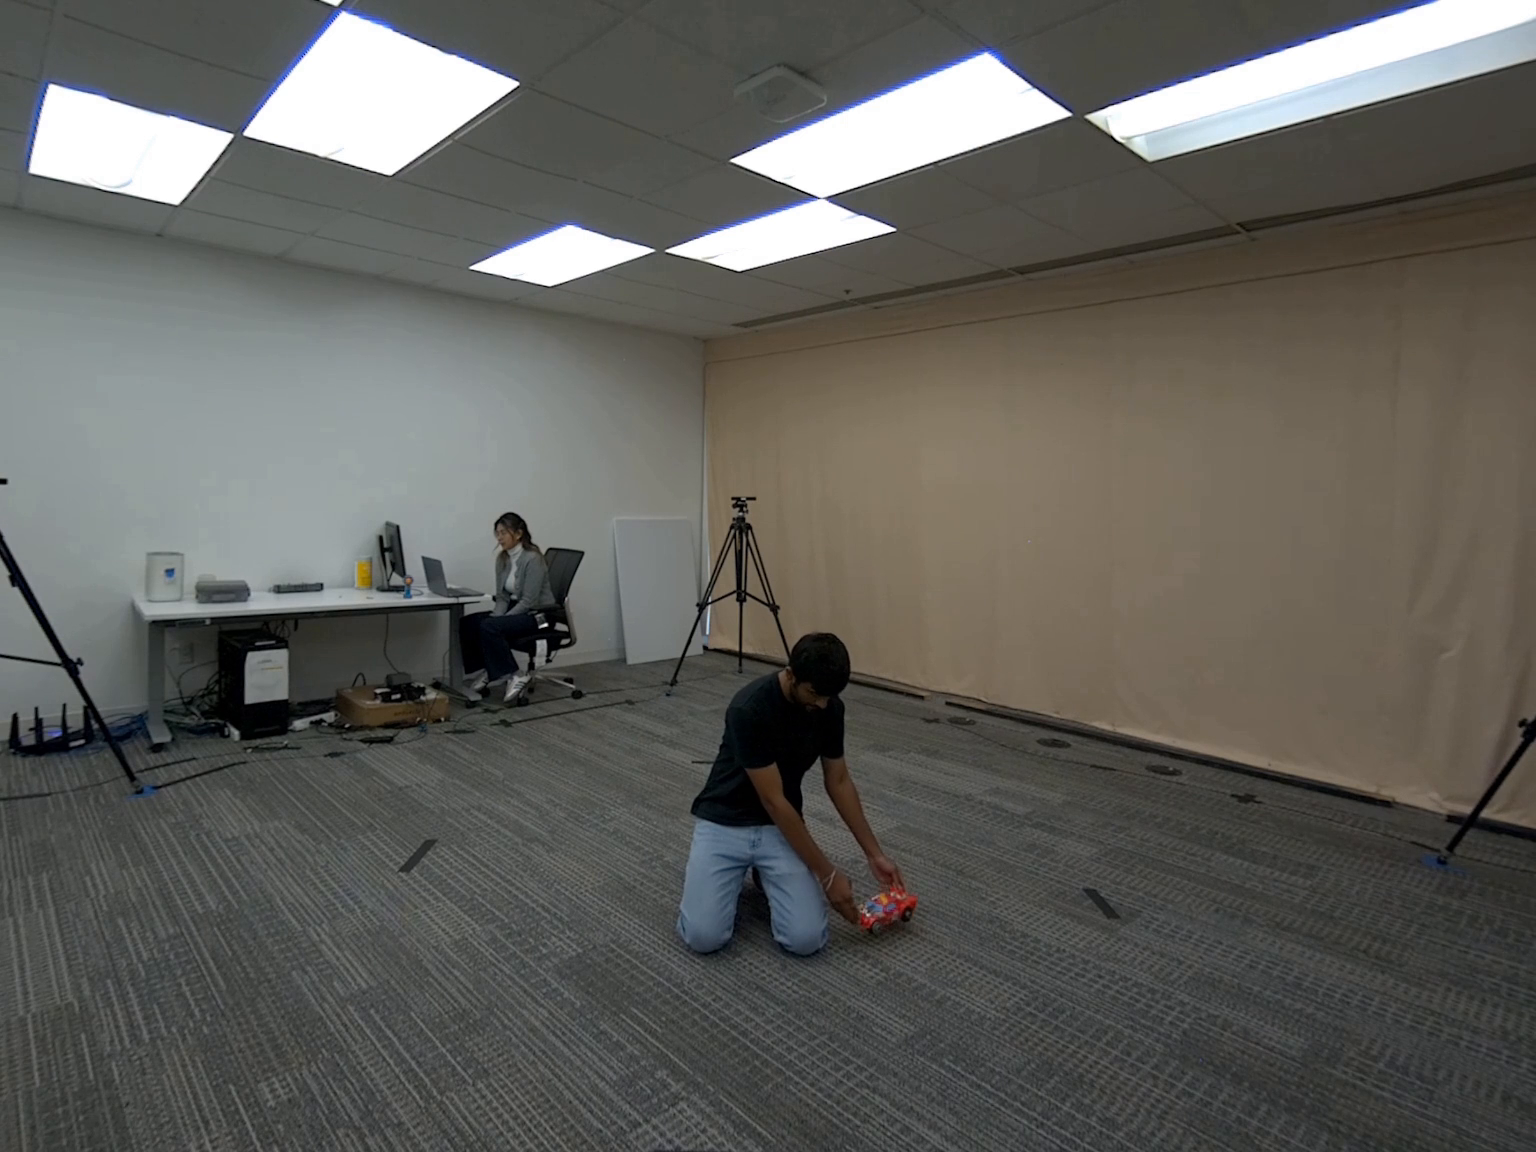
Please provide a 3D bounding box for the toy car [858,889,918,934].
[{"bbox_3d":[0.368,1.074,2.706,0.250,0.082,0.133,-13,11,-36],"label":"toy car"}]
